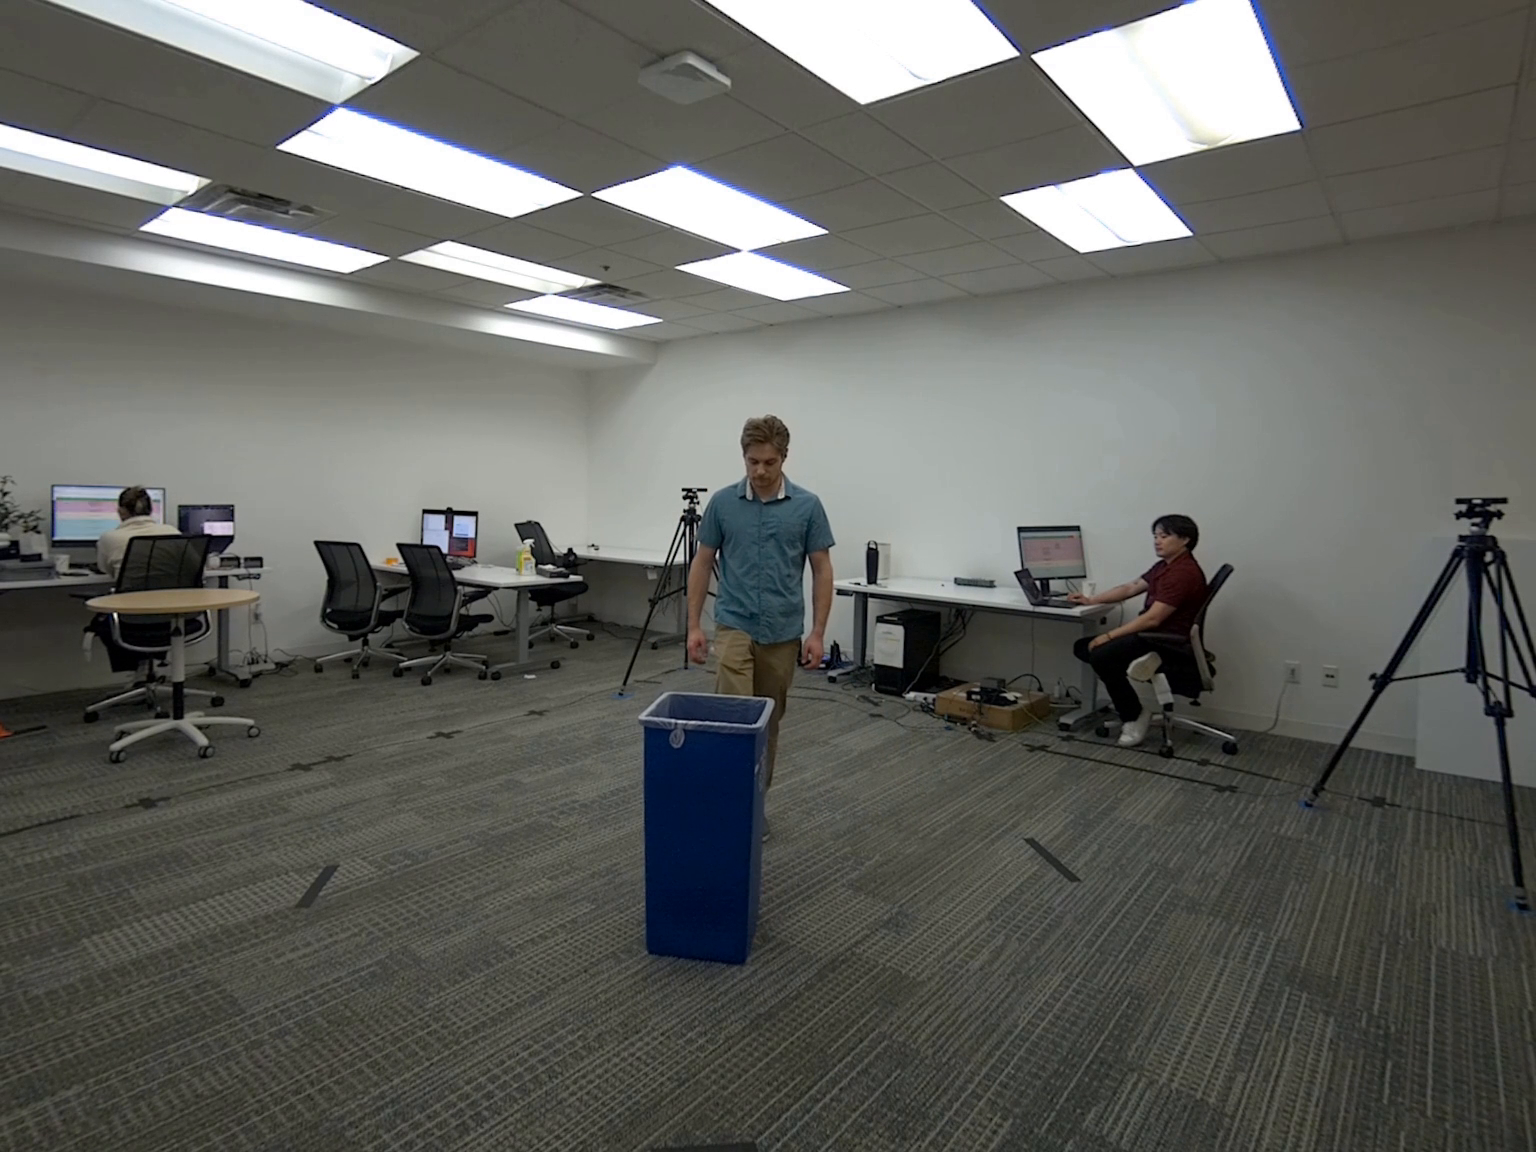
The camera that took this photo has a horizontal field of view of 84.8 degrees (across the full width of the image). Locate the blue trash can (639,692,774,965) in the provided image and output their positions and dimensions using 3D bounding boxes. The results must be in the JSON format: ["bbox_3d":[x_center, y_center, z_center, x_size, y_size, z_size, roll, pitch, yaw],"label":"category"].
[{"bbox_3d":[-0.201,0.760,2.644,0.382,0.711,0.372,2,4,8],"label":"blue trash can"}]
